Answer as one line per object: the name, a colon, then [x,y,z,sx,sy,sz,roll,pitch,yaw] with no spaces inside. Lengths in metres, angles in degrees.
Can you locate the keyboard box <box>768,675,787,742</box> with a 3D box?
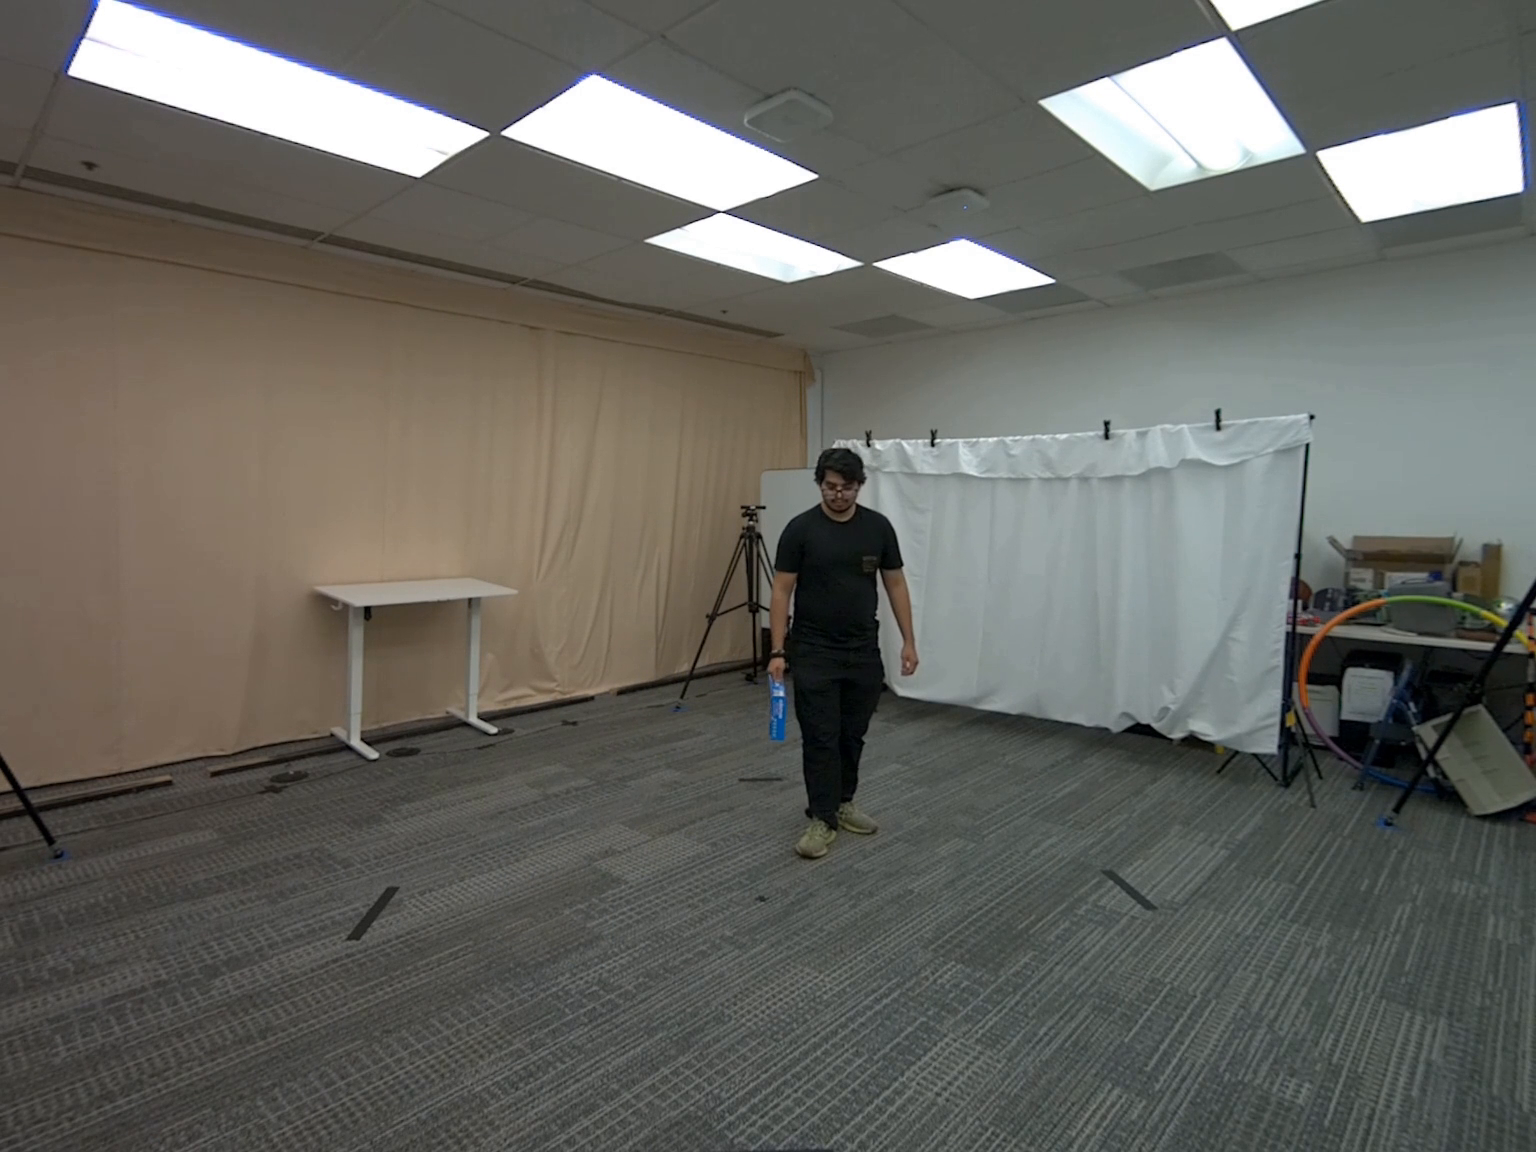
keyboard box: [0.039,0.521,3.457,0.059,0.175,0.438,1,6,-3]
